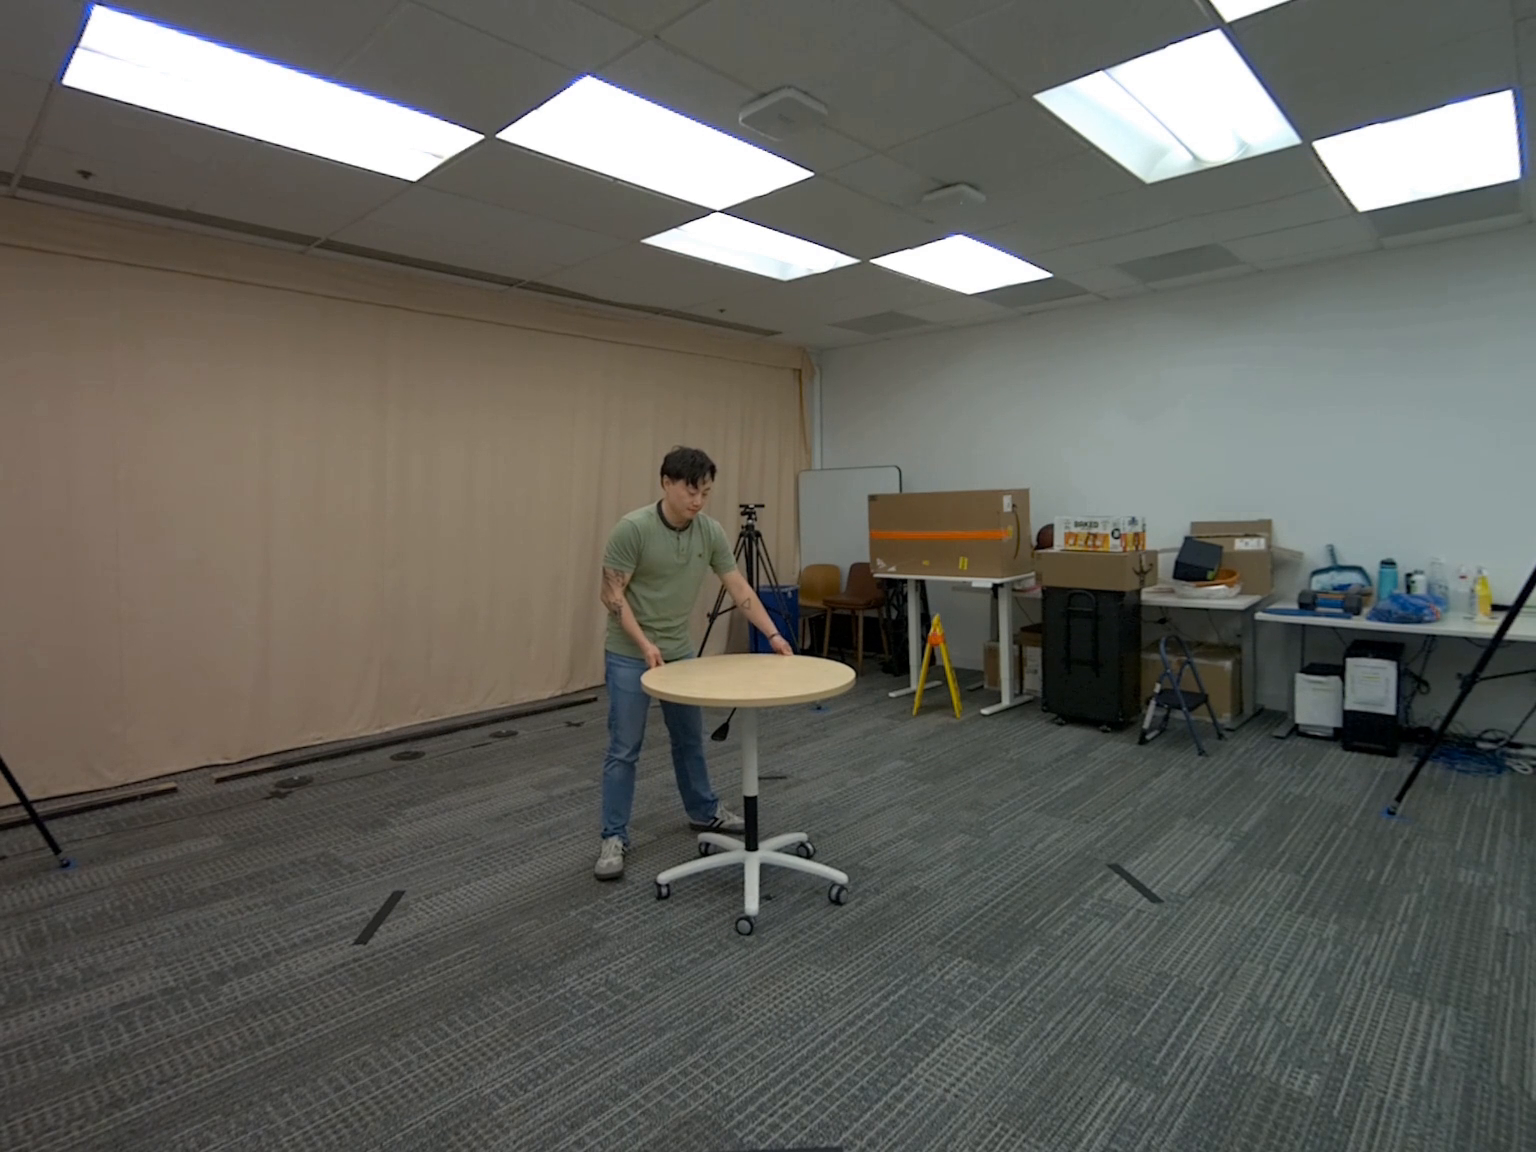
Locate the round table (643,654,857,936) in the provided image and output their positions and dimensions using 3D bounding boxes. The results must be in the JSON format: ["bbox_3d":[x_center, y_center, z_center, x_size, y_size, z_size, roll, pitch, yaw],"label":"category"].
[{"bbox_3d":[-0.062,0.746,3.039,0.763,0.792,0.766,-1,4,-2],"label":"round table"}]
